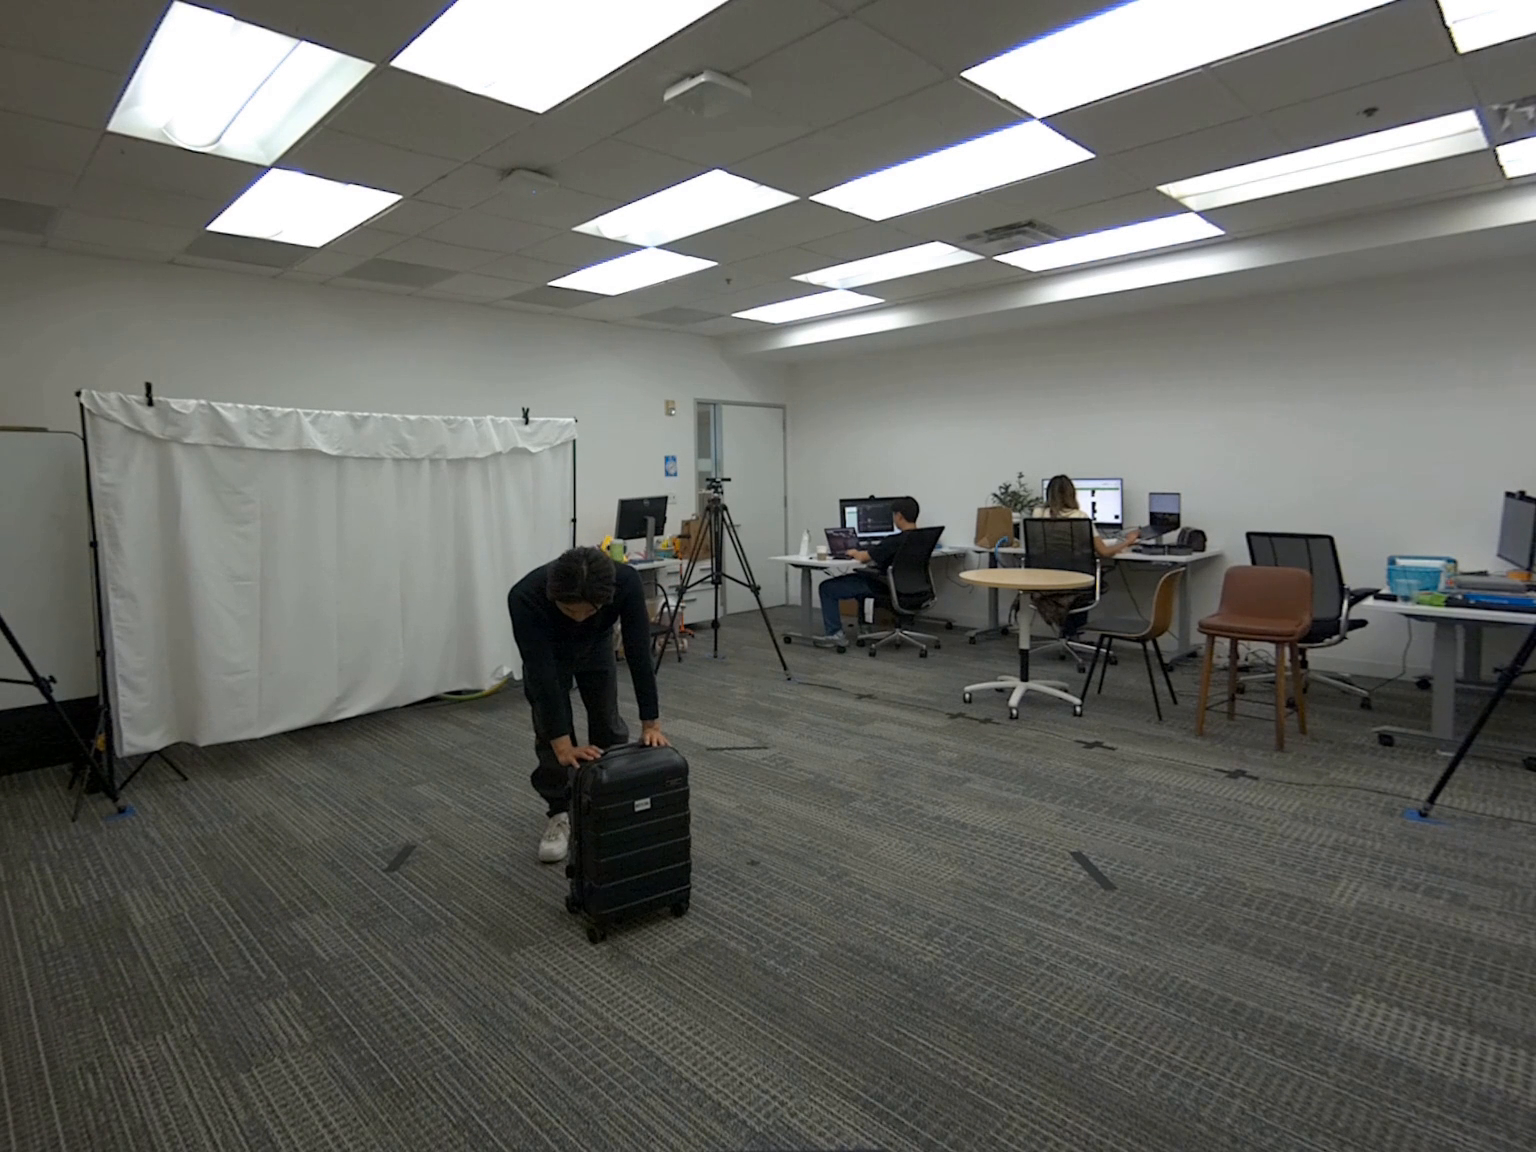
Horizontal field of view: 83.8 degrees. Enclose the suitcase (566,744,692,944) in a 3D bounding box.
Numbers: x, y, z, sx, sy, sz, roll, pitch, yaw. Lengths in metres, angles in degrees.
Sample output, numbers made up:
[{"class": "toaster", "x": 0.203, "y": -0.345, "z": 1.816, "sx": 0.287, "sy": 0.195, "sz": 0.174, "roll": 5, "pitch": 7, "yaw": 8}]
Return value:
[{"class": "suitcase", "x": -0.440, "y": 0.818, "z": 2.736, "sx": 0.366, "sy": 0.547, "sz": 0.256, "roll": -3, "pitch": 7, "yaw": -32}]
